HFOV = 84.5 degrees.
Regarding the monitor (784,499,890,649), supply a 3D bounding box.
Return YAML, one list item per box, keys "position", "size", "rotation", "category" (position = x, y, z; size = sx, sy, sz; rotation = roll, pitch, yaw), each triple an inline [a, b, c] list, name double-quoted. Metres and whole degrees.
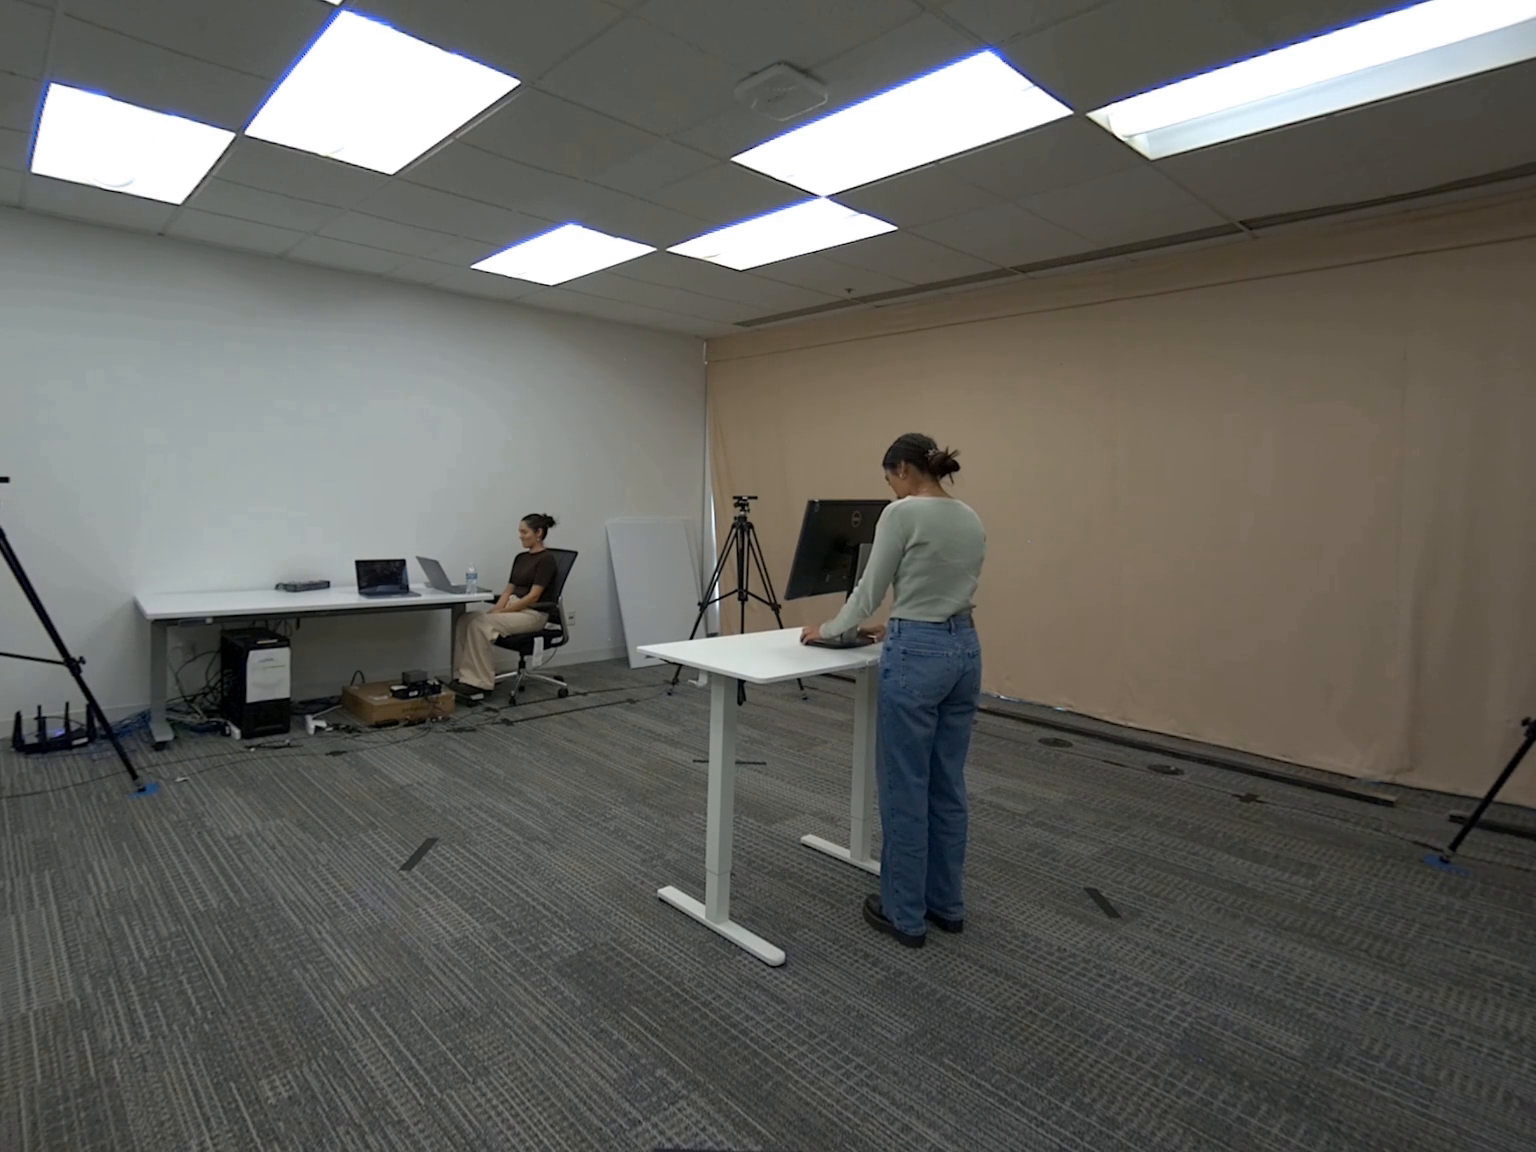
- position: [0.272, -0.016, 2.988]
  size: [0.178, 0.515, 0.519]
  rotation: [0, 4, 36]
  category: "monitor"
